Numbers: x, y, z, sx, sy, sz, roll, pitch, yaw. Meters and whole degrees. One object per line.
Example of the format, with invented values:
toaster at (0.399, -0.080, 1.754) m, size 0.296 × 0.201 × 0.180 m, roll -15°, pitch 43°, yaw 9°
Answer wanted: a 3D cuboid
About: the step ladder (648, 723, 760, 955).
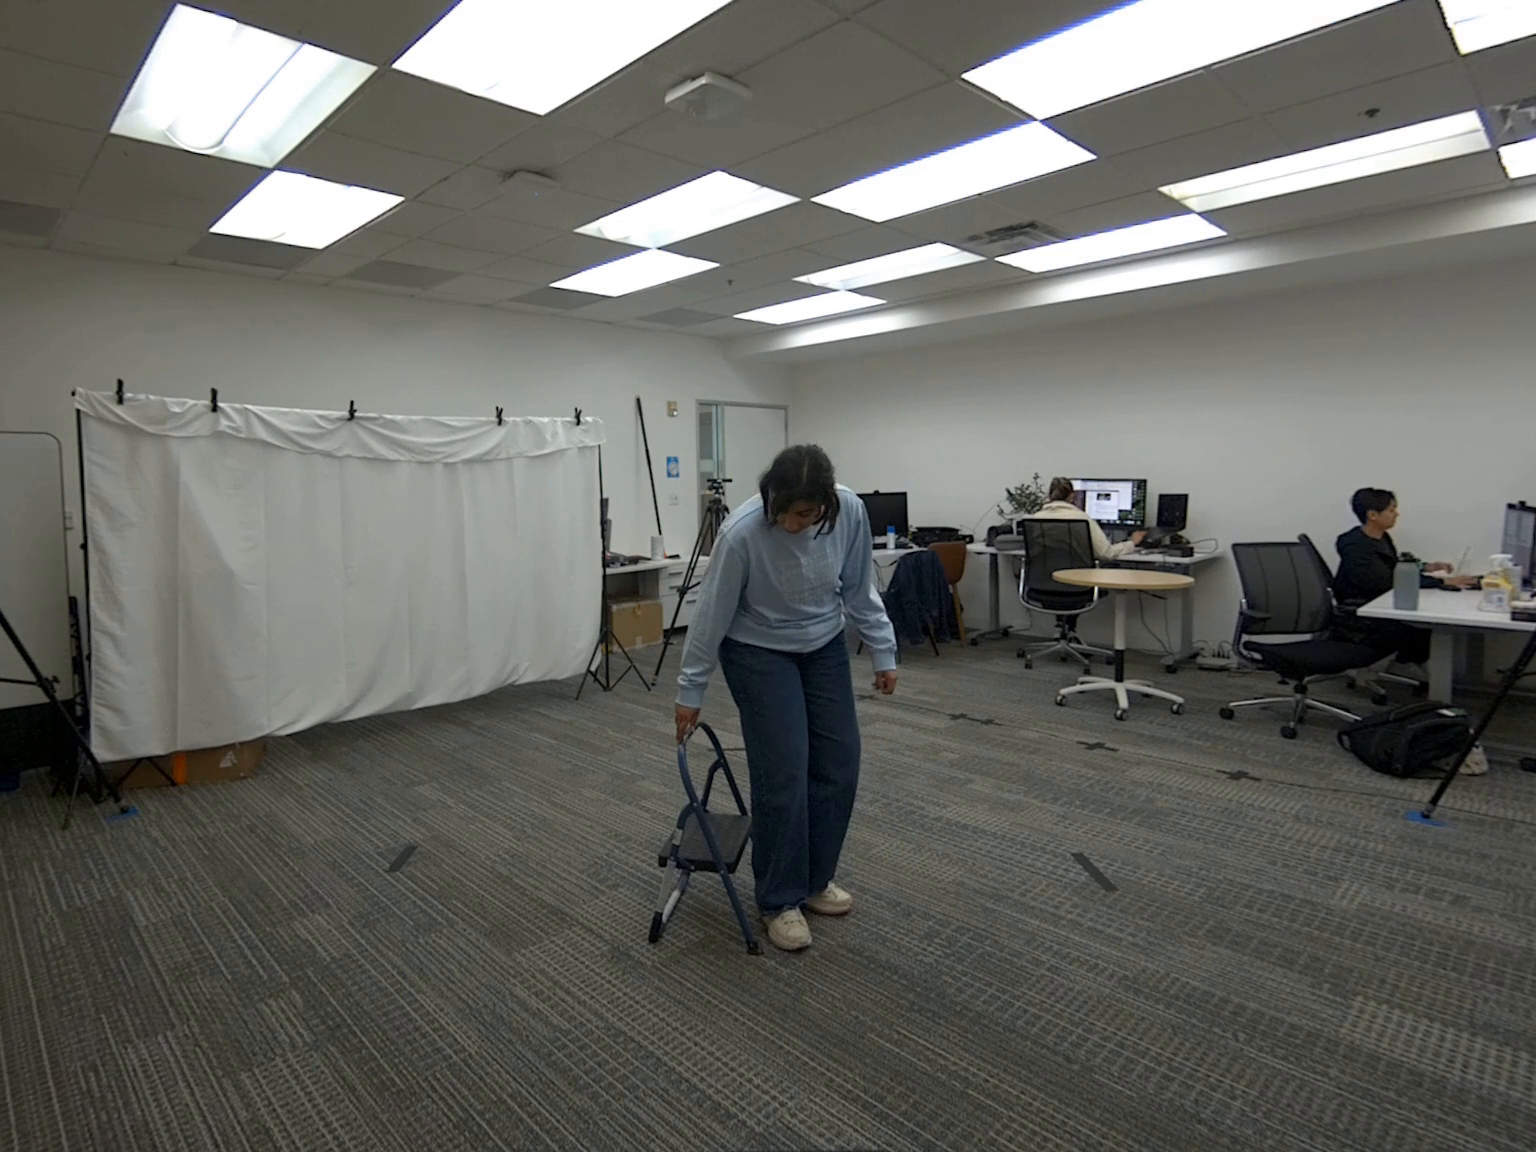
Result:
step ladder at (-0.164, 0.789, 2.728) m, size 0.353 × 0.603 × 0.428 m, roll 1°, pitch 5°, yaw 10°
